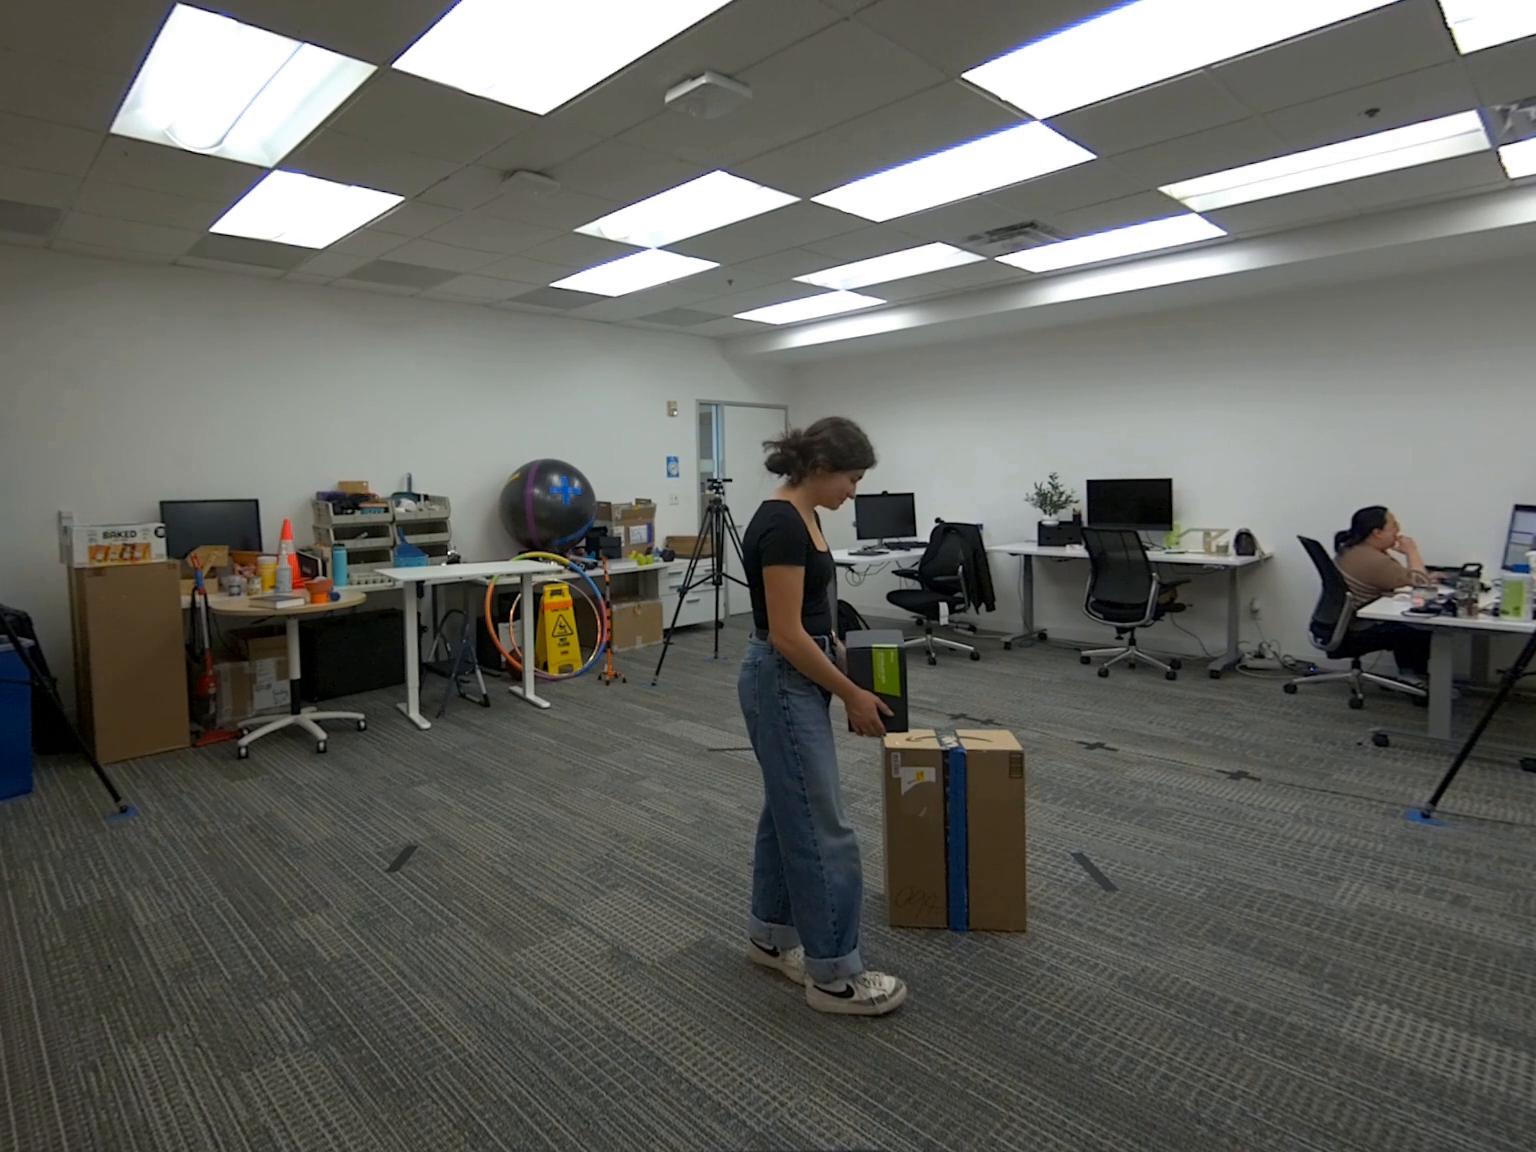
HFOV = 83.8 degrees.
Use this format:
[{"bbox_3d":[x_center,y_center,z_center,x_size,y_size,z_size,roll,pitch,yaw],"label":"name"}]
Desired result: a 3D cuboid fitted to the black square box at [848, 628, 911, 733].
[{"bbox_3d":[0.298,0.274,2.313,0.157,0.227,0.216,0,5,8],"label":"black square box"}]
